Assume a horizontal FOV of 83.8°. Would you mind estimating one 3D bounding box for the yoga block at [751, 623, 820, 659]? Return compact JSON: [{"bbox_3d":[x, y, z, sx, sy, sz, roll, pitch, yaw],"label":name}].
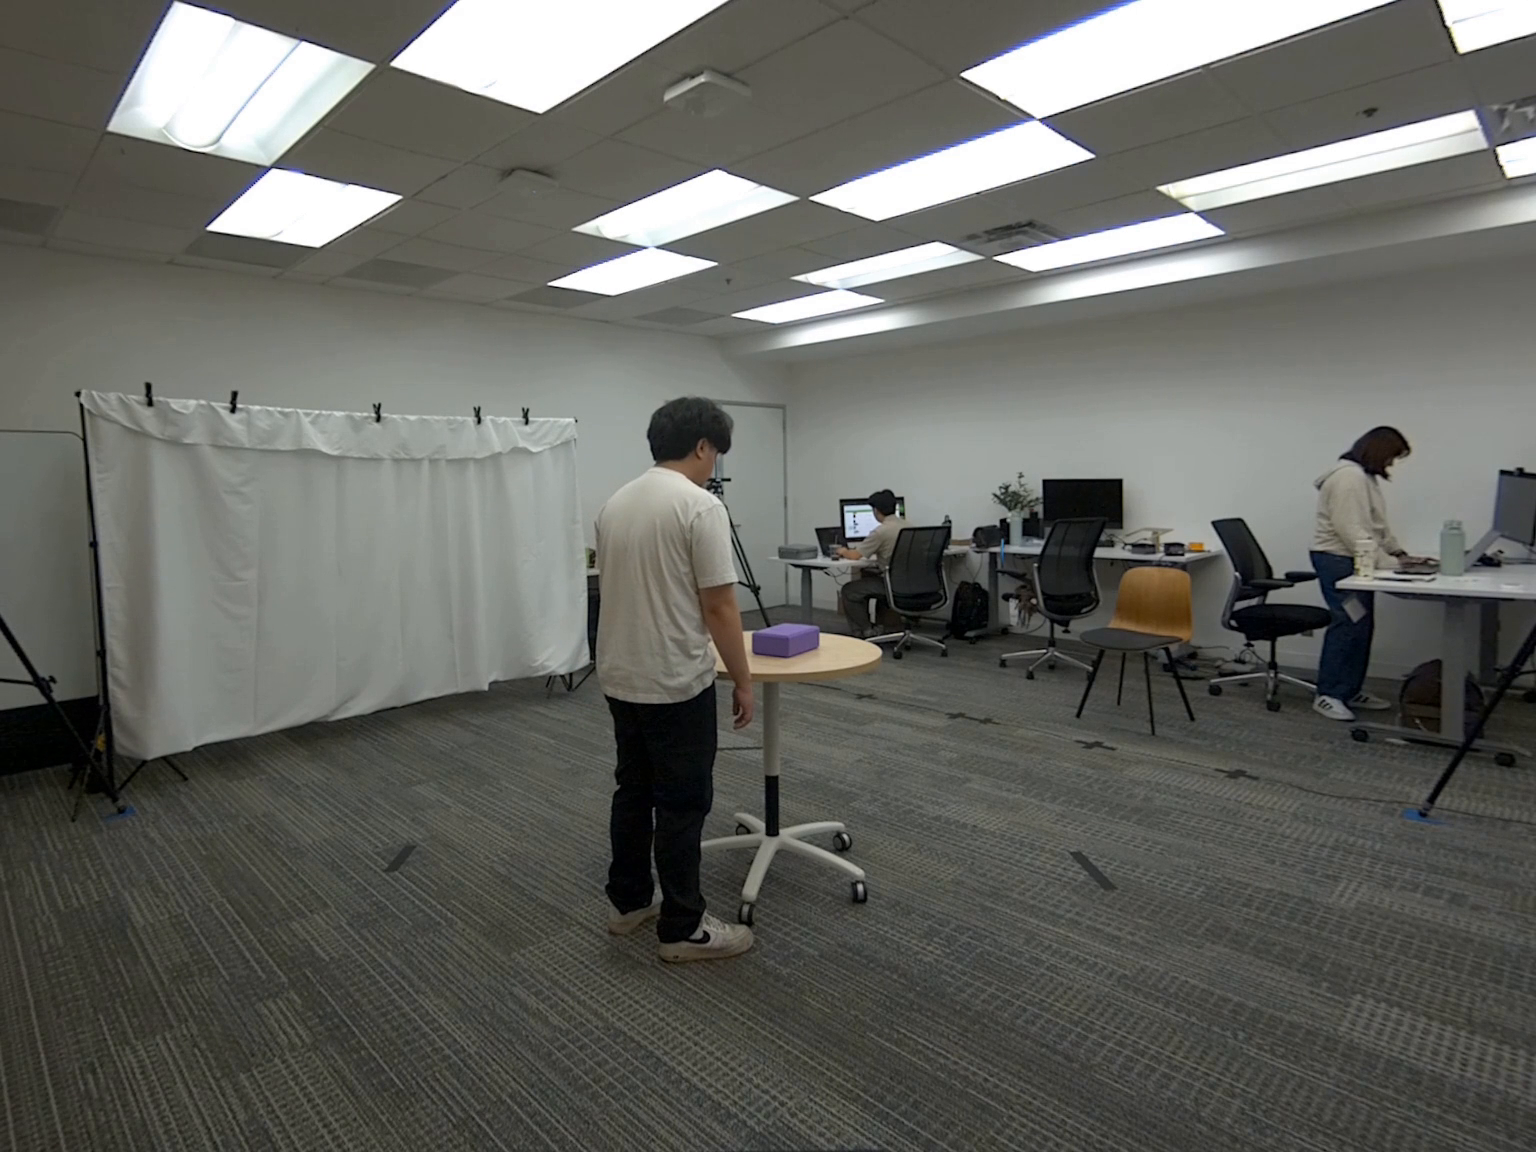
[{"bbox_3d":[0.066,0.221,2.948,0.153,0.076,0.224,3,6,32],"label":"yoga block"}]
